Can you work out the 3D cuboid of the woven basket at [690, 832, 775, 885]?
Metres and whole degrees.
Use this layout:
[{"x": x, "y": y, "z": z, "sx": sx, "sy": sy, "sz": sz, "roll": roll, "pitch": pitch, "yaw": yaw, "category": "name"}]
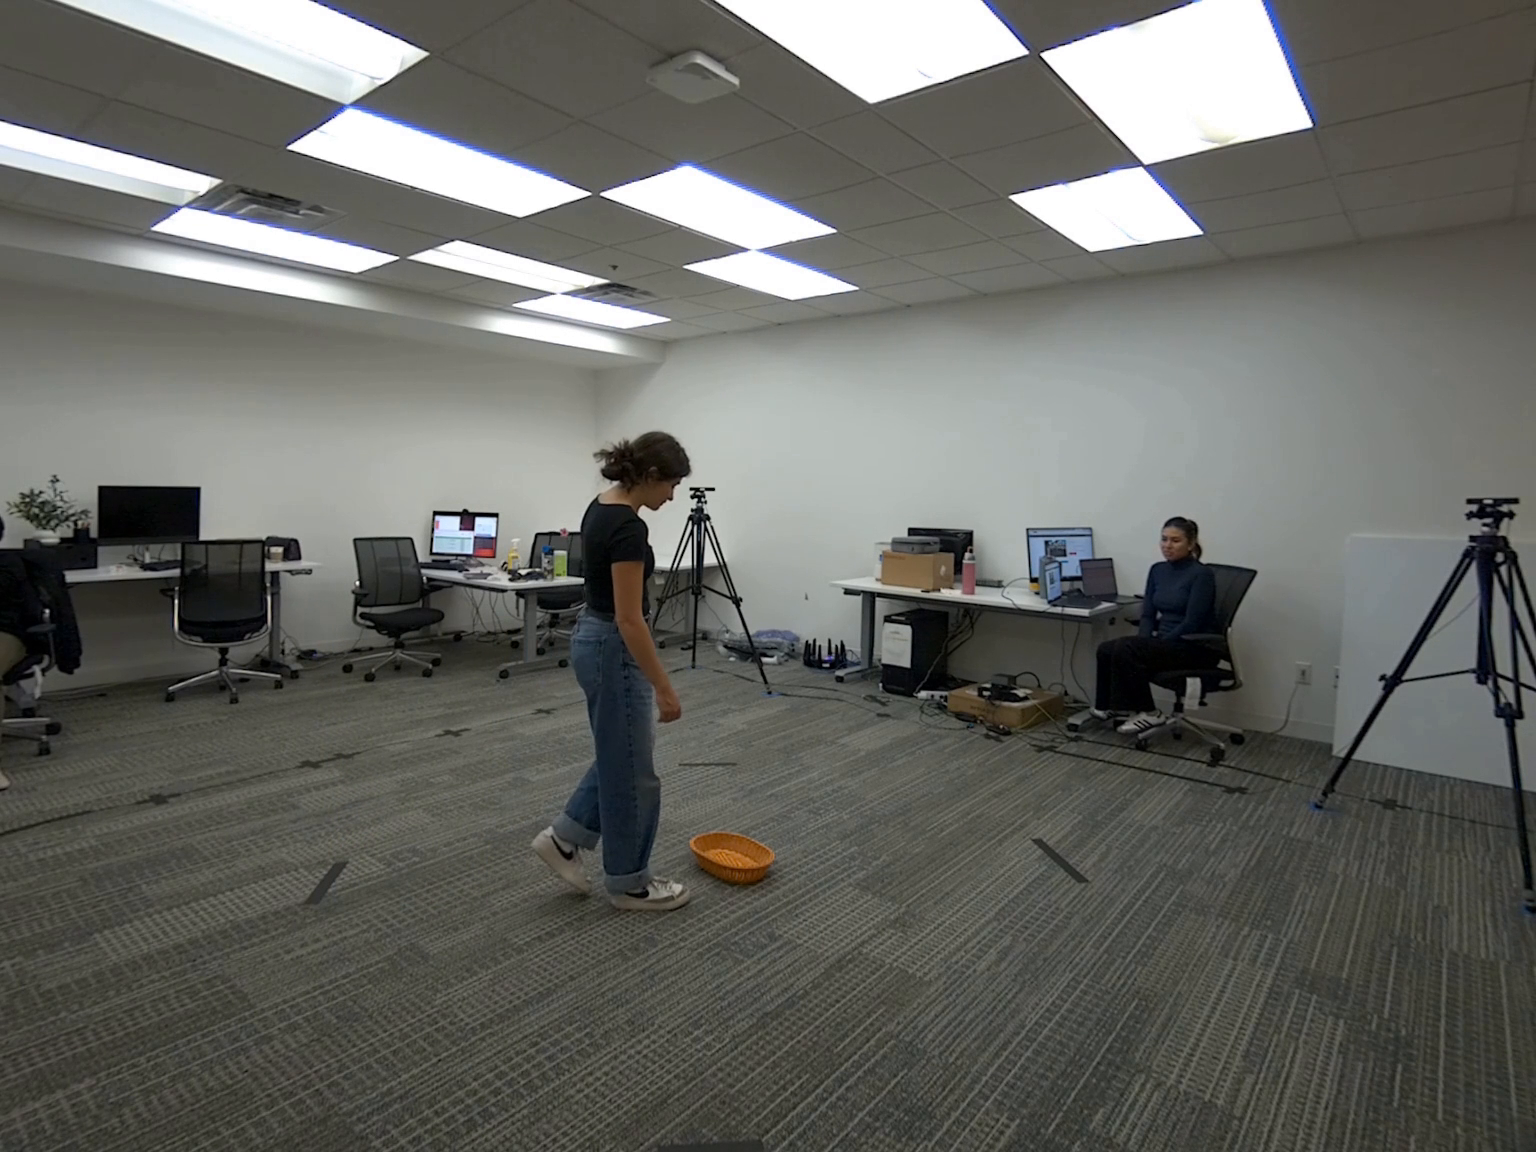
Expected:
[{"x": -0.144, "y": 1.027, "z": 3.114, "sx": 0.245, "sy": 0.073, "sz": 0.362, "roll": -1, "pitch": 5, "yaw": -38, "category": "woven basket"}]
